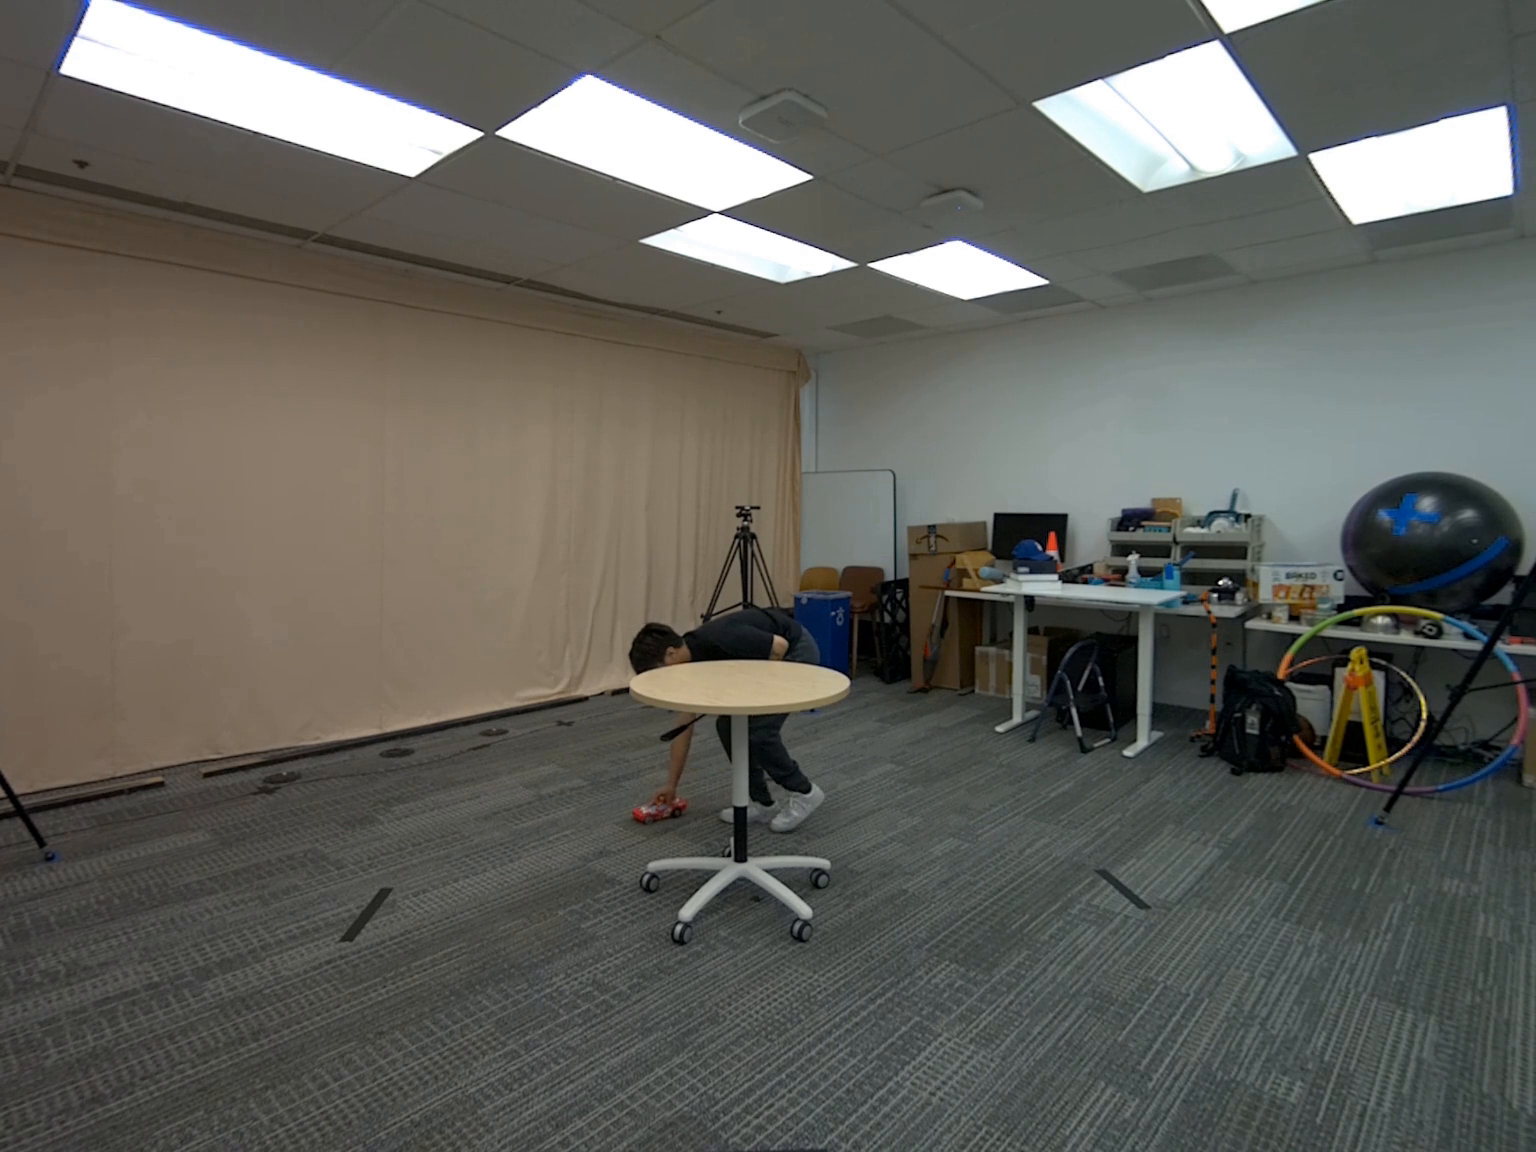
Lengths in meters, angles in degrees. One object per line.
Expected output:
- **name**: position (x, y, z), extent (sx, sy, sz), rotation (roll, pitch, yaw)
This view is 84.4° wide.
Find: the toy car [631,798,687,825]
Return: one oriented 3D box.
- **toy car**: position (-0.485, 1.056, 3.793), extent (0.248, 0.082, 0.134), rotation (-15, 11, -33)
